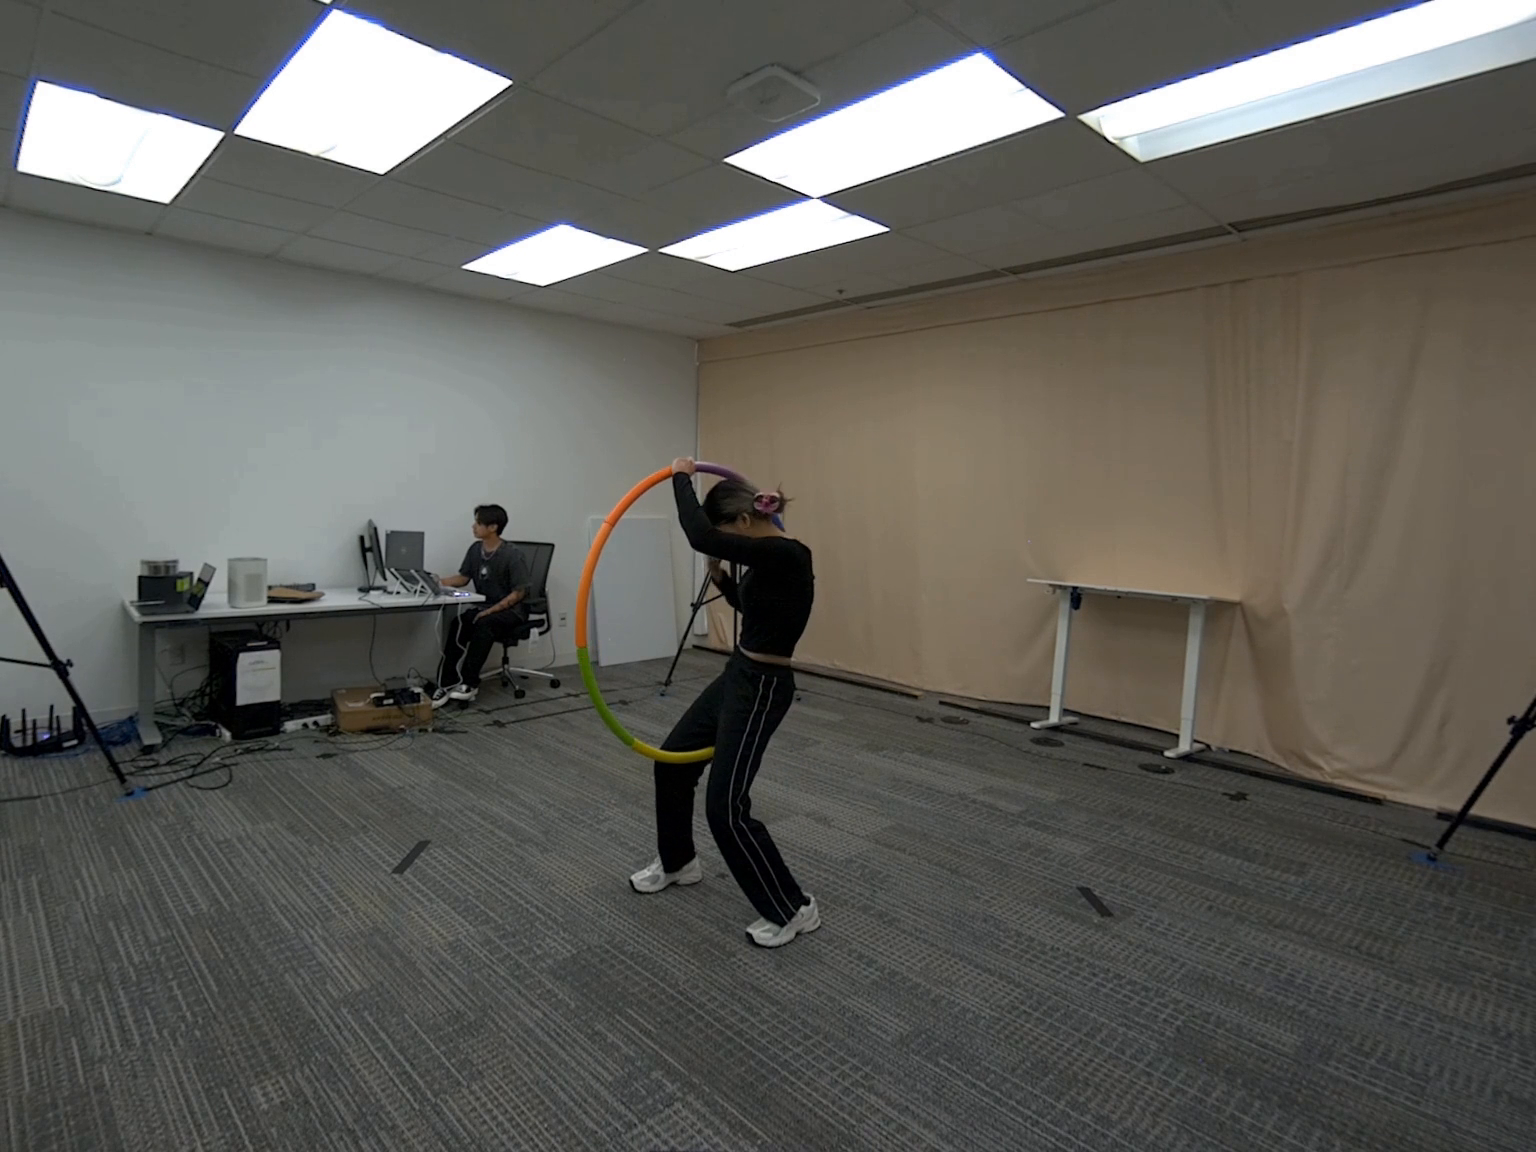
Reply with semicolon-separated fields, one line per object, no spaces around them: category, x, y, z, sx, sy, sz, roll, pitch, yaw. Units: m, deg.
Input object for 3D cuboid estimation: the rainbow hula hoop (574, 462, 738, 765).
rainbow hula hoop;-0.226;0.124;2.787;0.036;0.976;0.956;4;5;44
